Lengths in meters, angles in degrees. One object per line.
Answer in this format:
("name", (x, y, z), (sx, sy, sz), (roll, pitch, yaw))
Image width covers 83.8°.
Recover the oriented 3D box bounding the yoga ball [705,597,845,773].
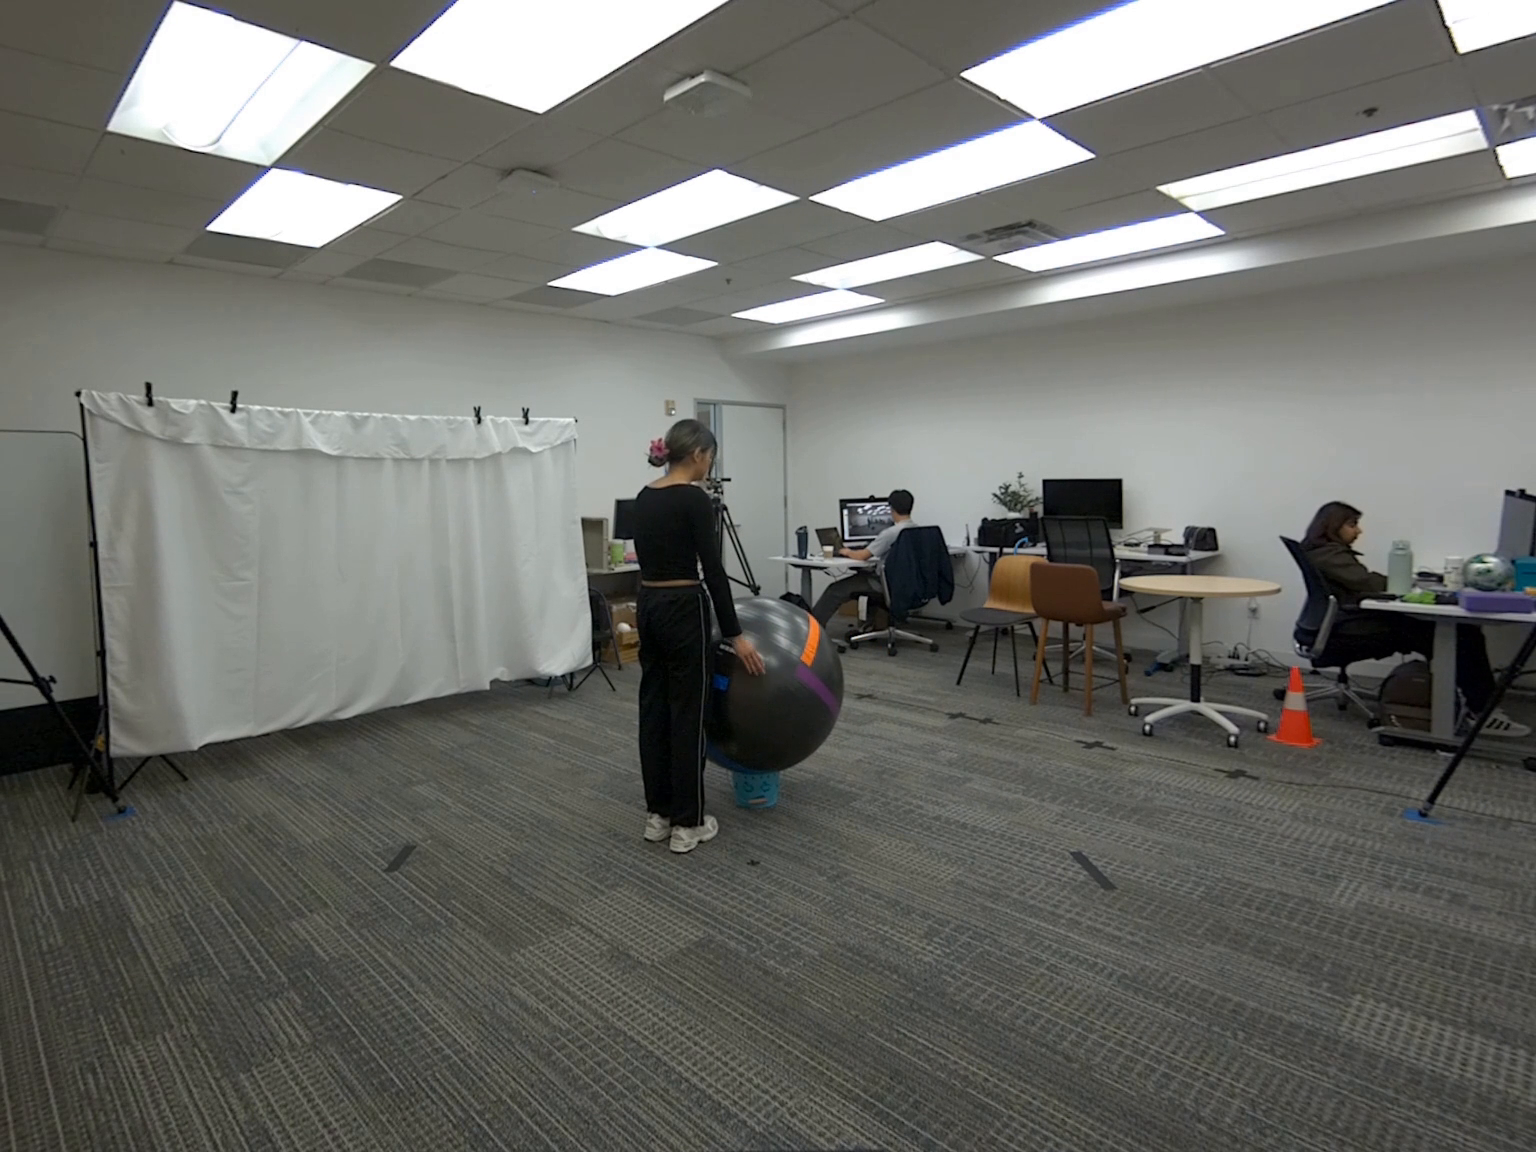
("yoga ball", (-0.052, 0.470, 3.692), (0.757, 0.755, 0.762), (-1, 5, -2))
